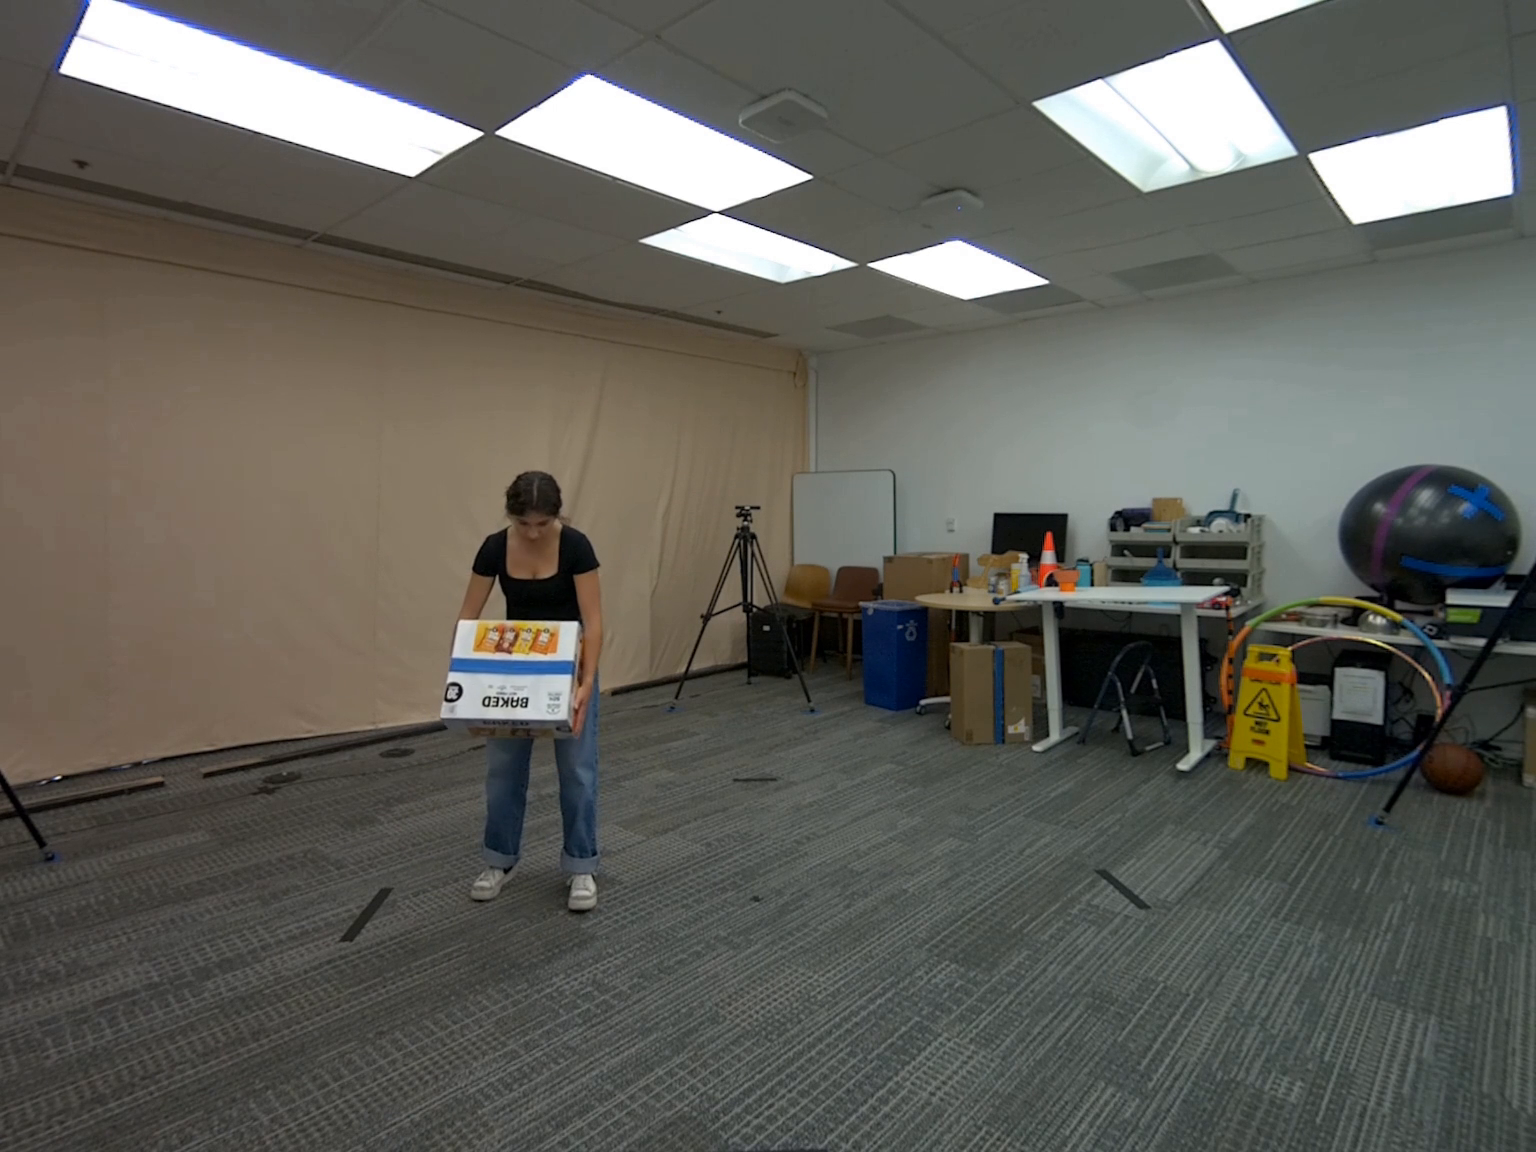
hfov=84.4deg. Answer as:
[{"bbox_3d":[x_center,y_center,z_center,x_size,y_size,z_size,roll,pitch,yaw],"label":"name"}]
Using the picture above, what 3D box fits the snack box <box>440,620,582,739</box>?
[{"bbox_3d":[-0.829,0.347,2.798,0.405,0.346,0.202,0,-30,-1],"label":"snack box"}]
